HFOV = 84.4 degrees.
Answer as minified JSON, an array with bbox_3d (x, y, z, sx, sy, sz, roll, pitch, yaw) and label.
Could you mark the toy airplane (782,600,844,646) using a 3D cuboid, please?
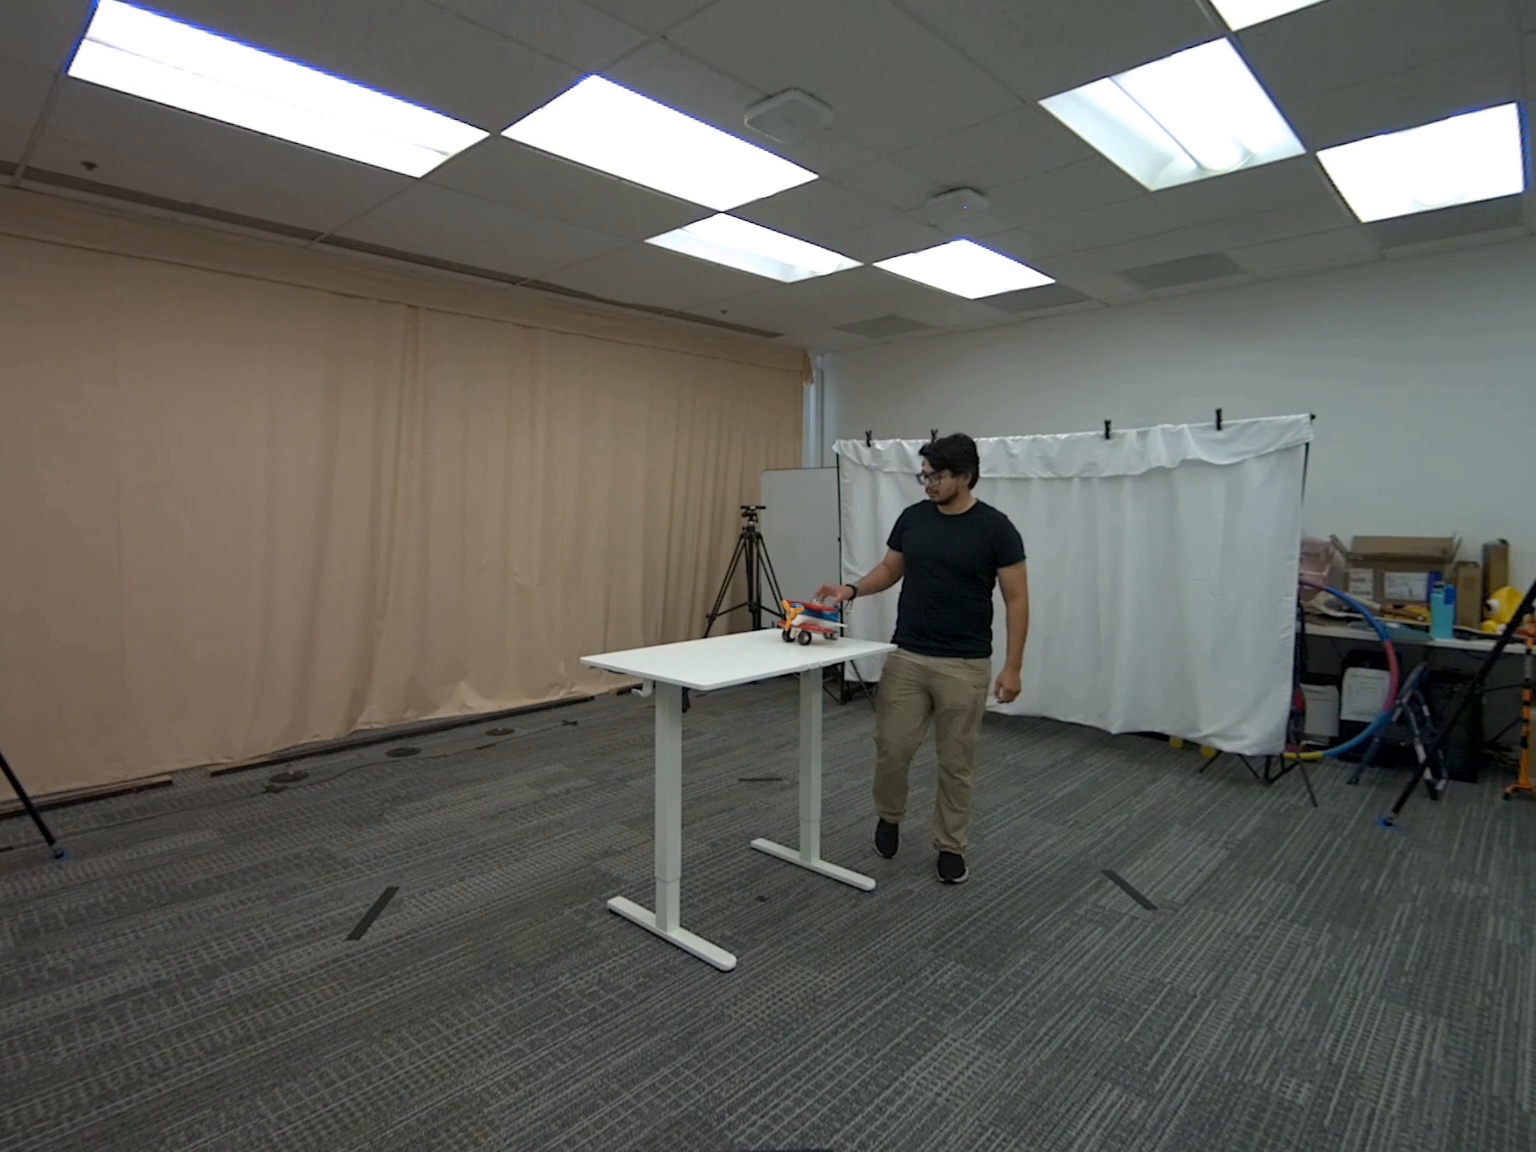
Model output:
[{"bbox_3d":[0.163,0.172,3.174,0.257,0.156,0.254,3,6,23],"label":"toy airplane"}]
